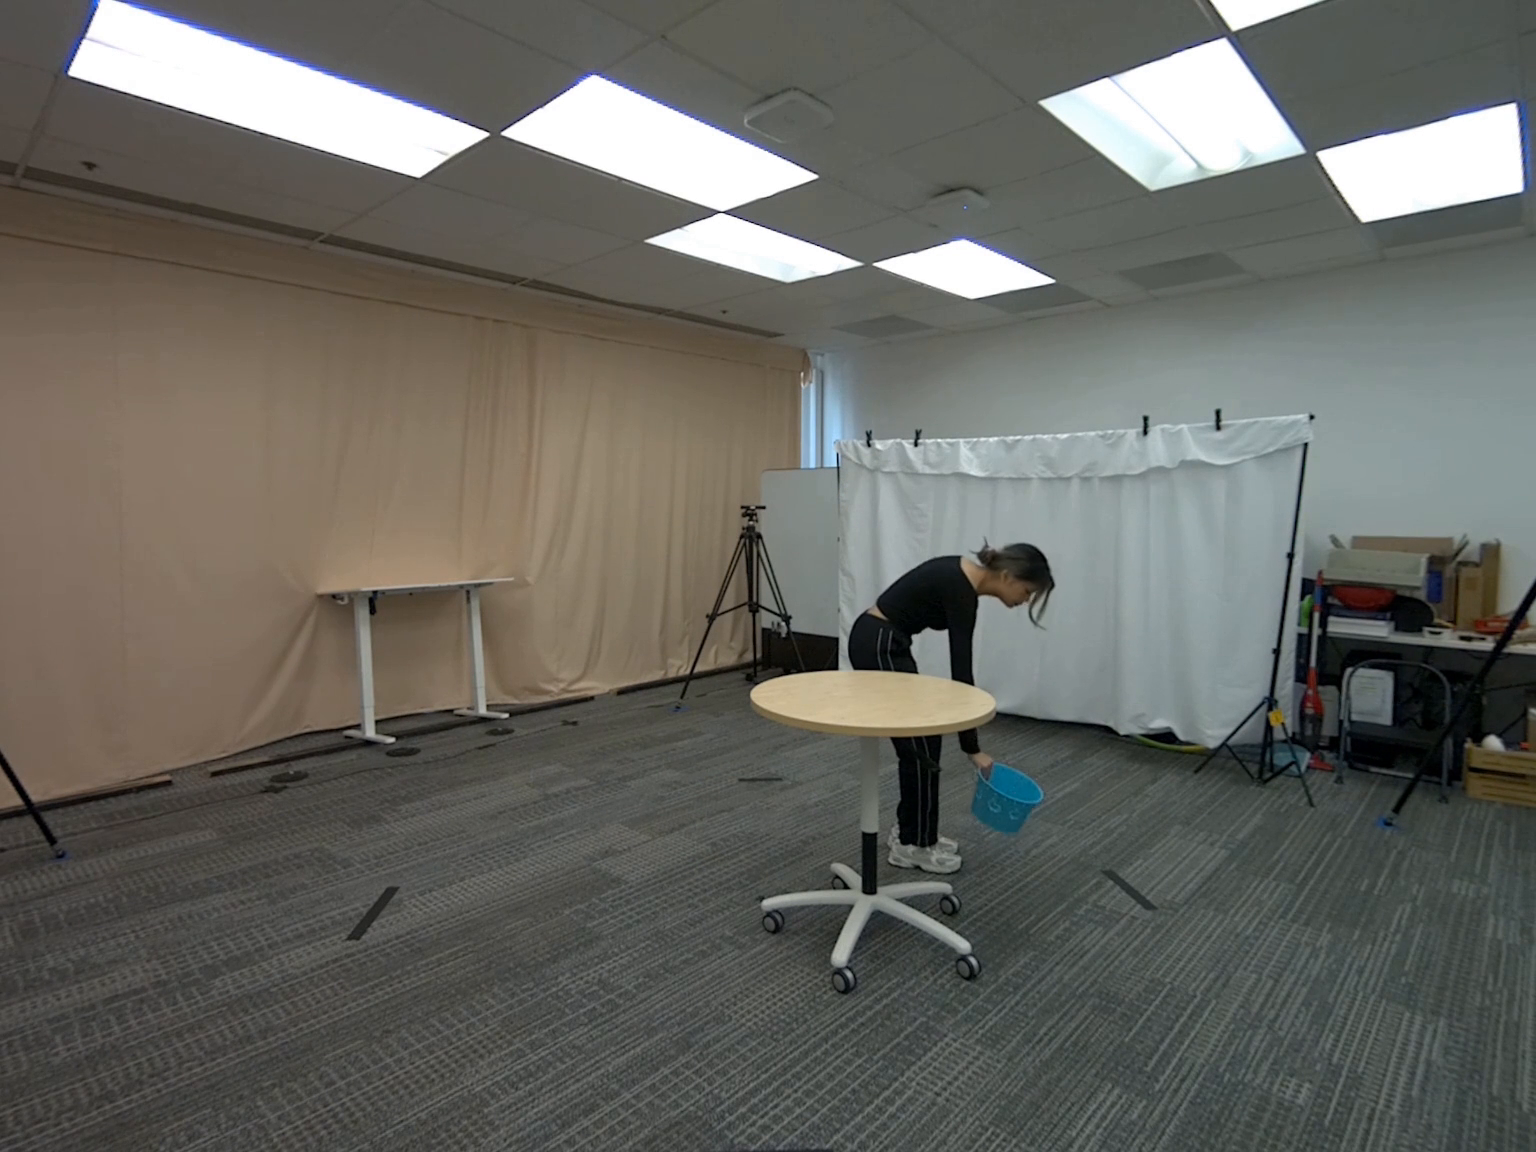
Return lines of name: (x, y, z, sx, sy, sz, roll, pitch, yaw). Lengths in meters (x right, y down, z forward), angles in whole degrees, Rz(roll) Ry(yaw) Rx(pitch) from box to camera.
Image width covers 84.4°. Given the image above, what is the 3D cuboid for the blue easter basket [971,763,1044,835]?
blue easter basket: (0.864, 0.797, 3.000, 0.242, 0.155, 0.246, 12, 17, -6)
